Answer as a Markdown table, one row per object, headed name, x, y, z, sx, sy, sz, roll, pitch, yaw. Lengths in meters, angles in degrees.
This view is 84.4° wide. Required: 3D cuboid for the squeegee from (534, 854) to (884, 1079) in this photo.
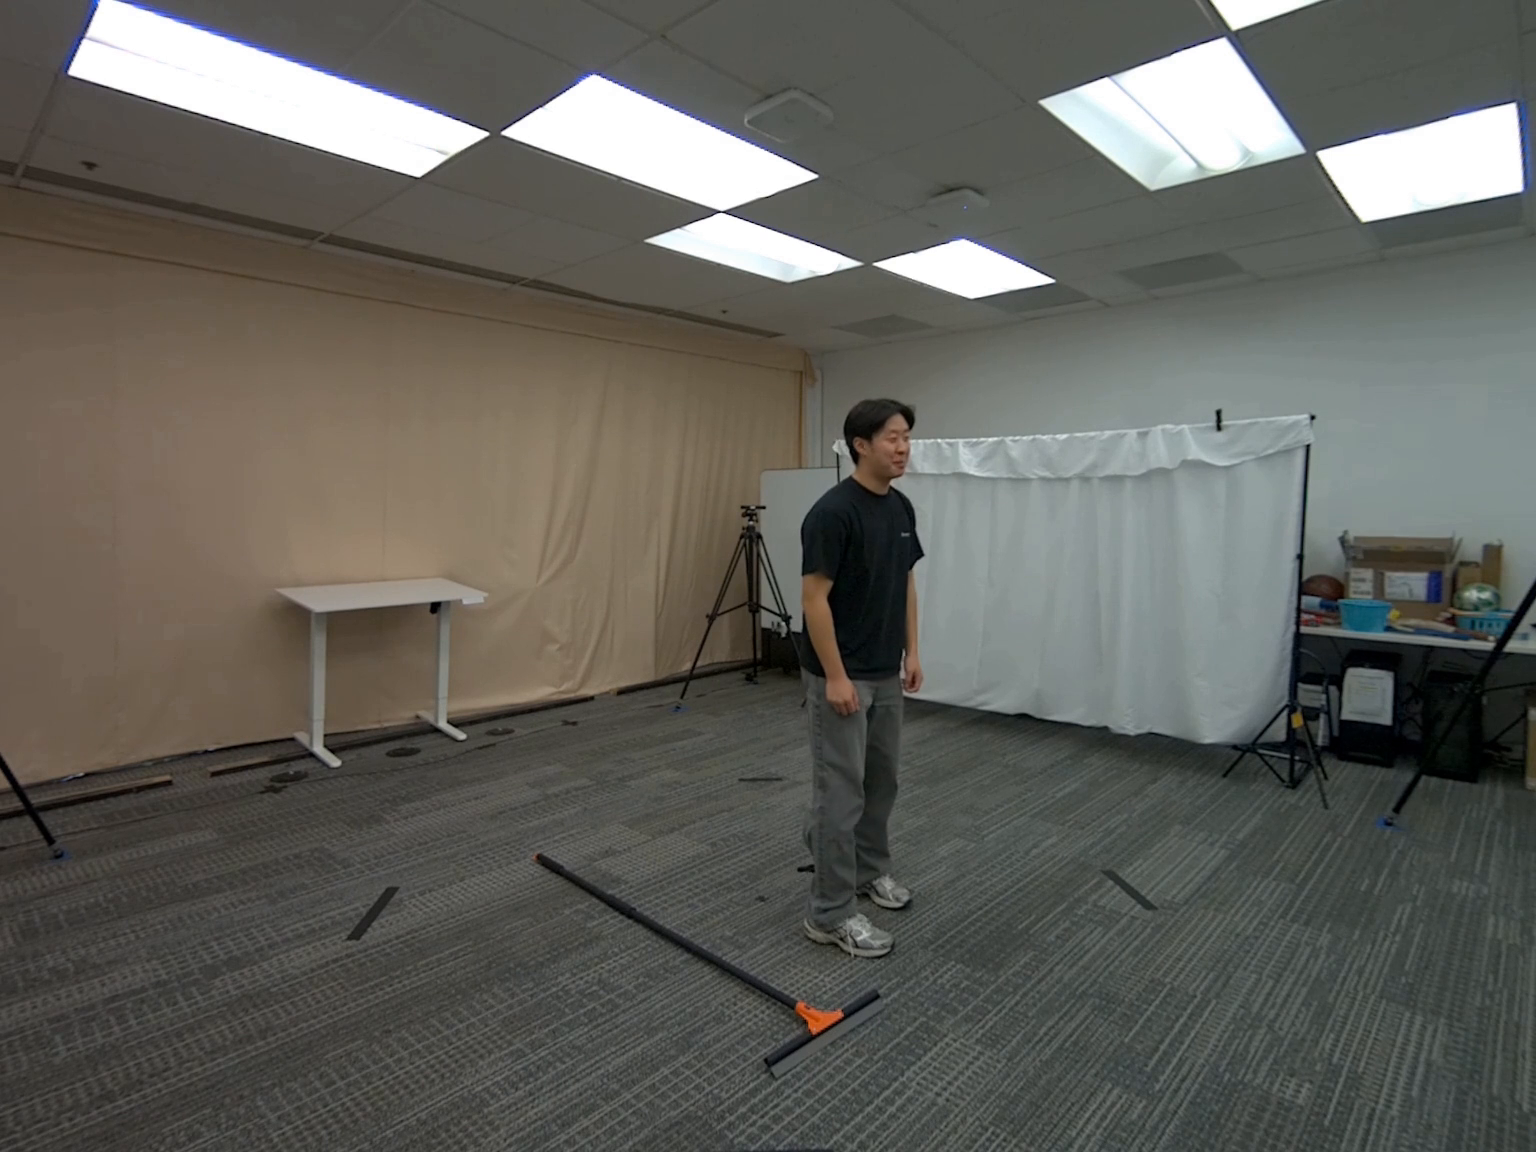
| name | x | y | z | sx | sy | sz | roll | pitch | yaw |
| --- | --- | --- | --- | --- | --- | --- | --- | --- | --- |
| squeegee | -0.370 | 1.133 | 2.758 | 0.424 | 0.053 | 1.588 | -2 | 4 | -43 |
